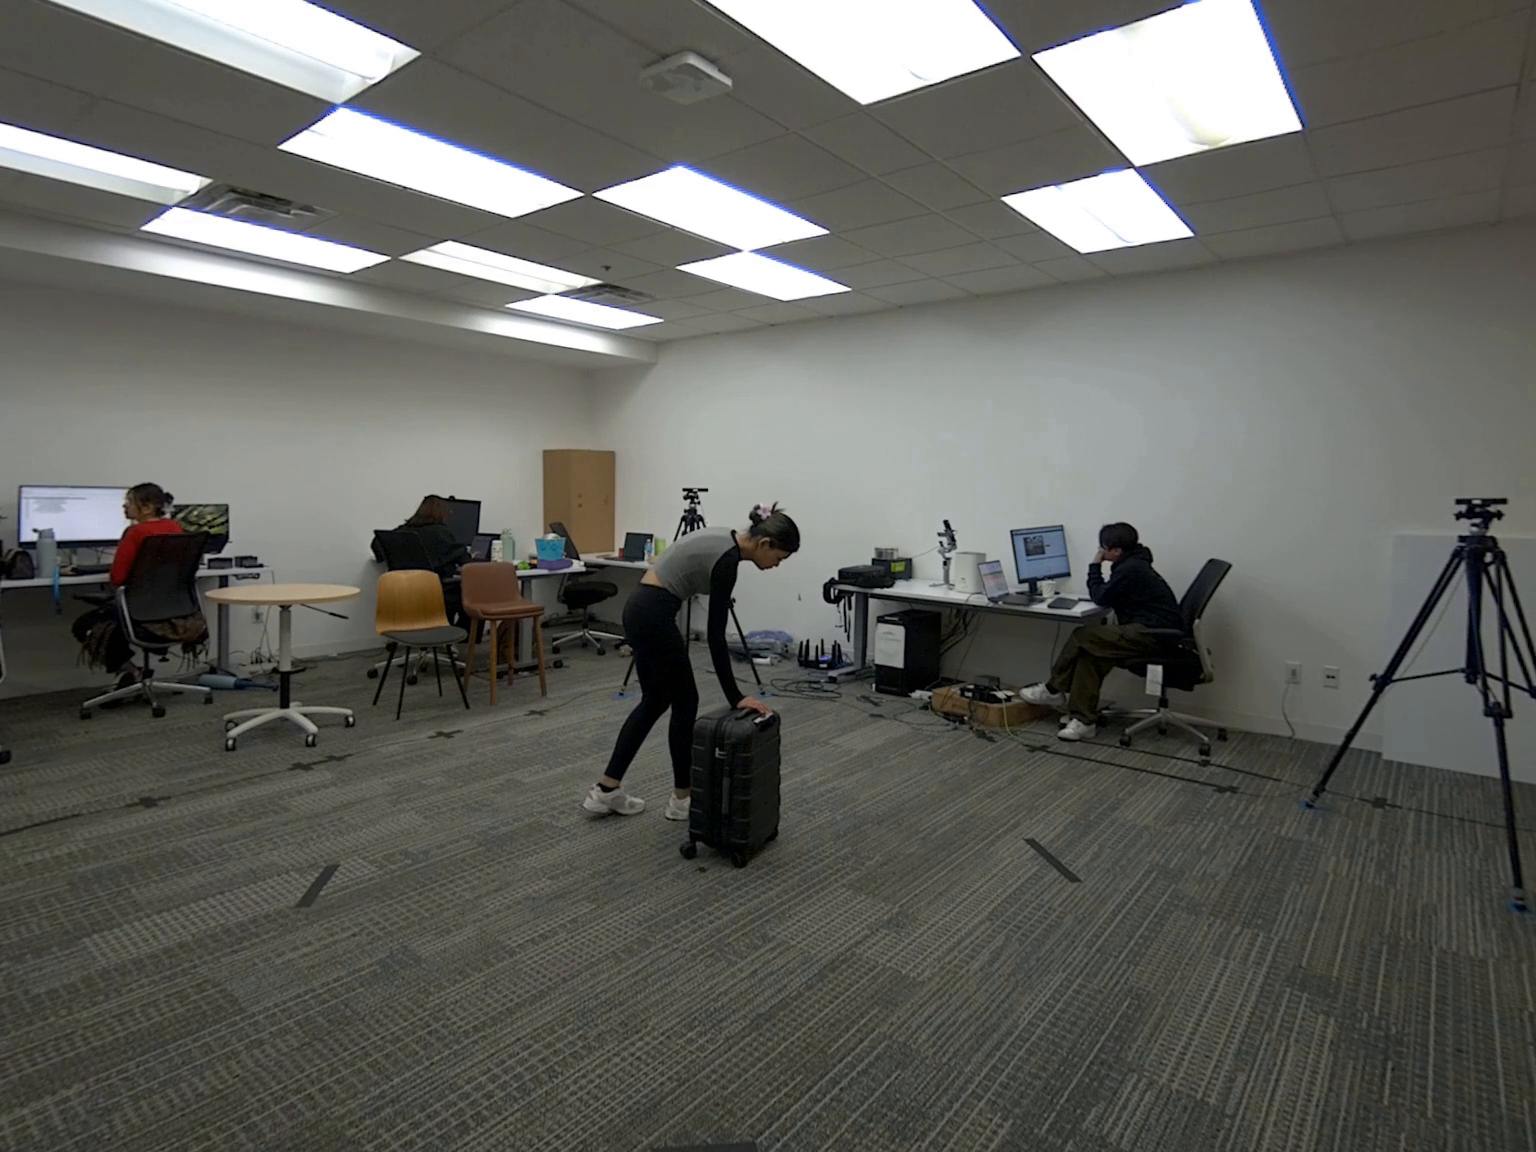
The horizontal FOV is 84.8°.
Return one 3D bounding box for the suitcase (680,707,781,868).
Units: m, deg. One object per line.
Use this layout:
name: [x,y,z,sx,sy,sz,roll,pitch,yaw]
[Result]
suitcase: [-0.132,0.777,3.287,0.255,0.547,0.367,4,4,25]
